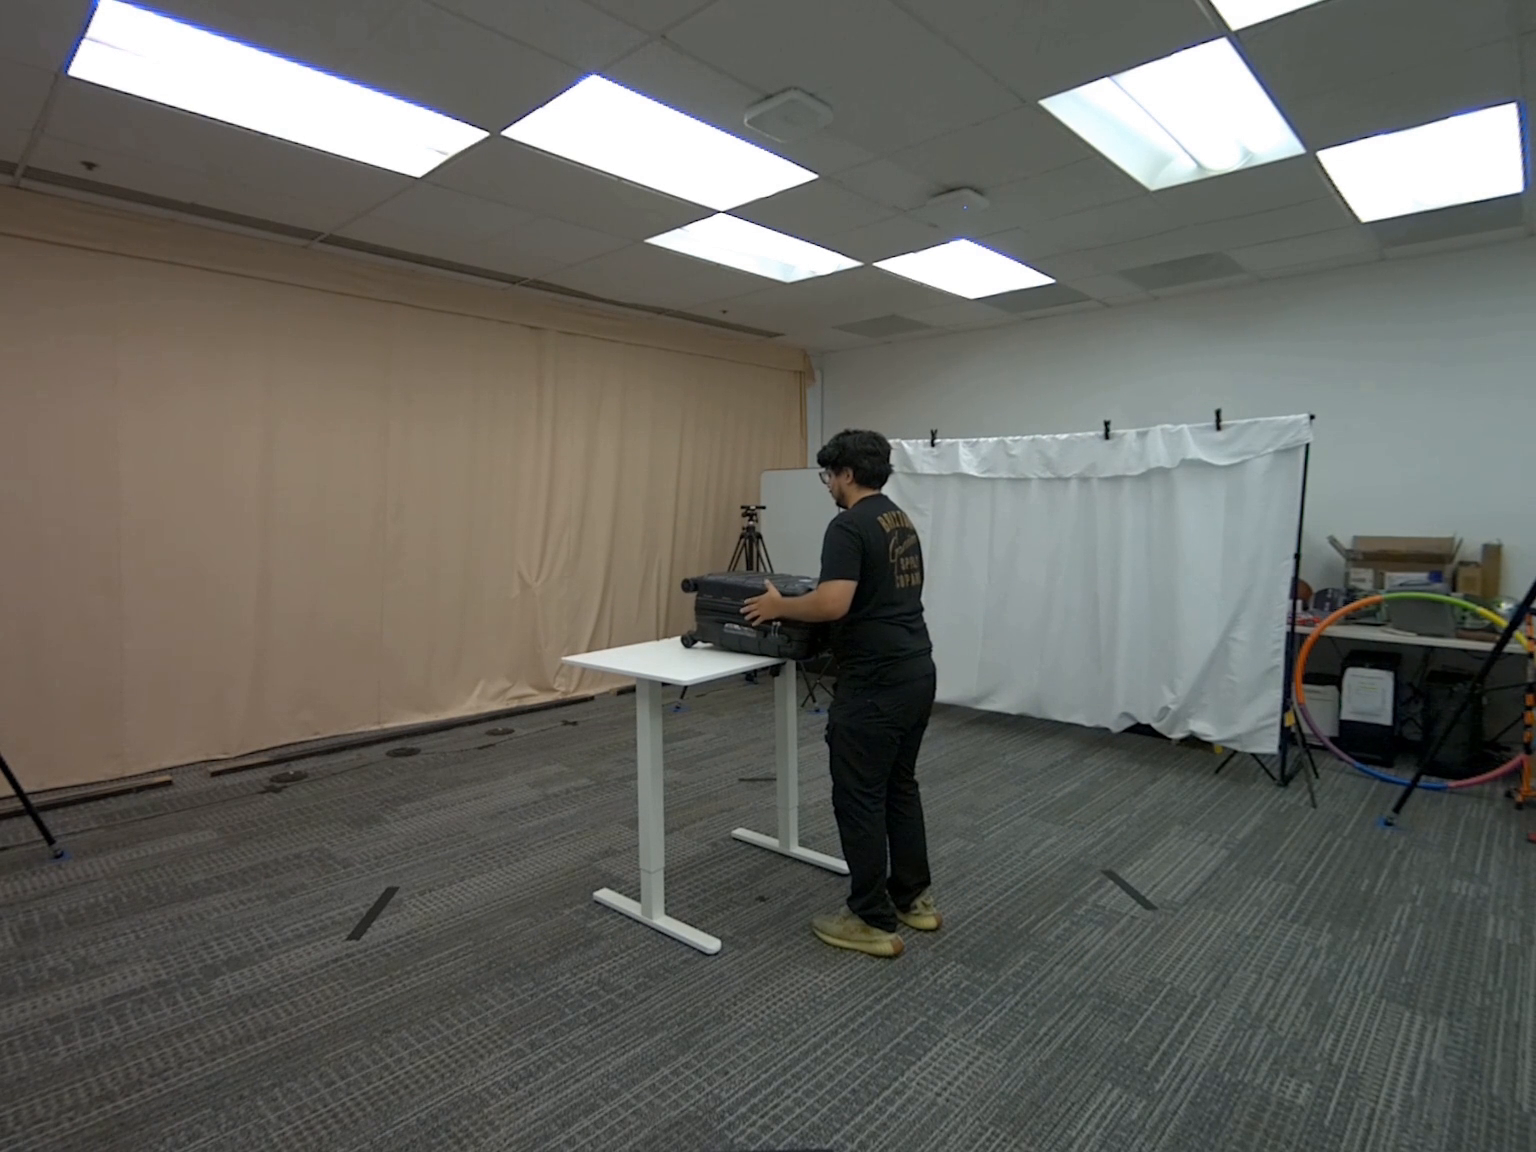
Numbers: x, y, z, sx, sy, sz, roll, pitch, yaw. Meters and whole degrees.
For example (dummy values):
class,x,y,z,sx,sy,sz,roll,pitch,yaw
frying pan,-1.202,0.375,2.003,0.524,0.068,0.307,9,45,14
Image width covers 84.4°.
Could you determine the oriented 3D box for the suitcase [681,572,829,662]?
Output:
class,x,y,z,sx,sy,sz,roll,pitch,yaw
suitcase,0.006,0.134,2.985,0.567,0.248,0.364,5,5,36
